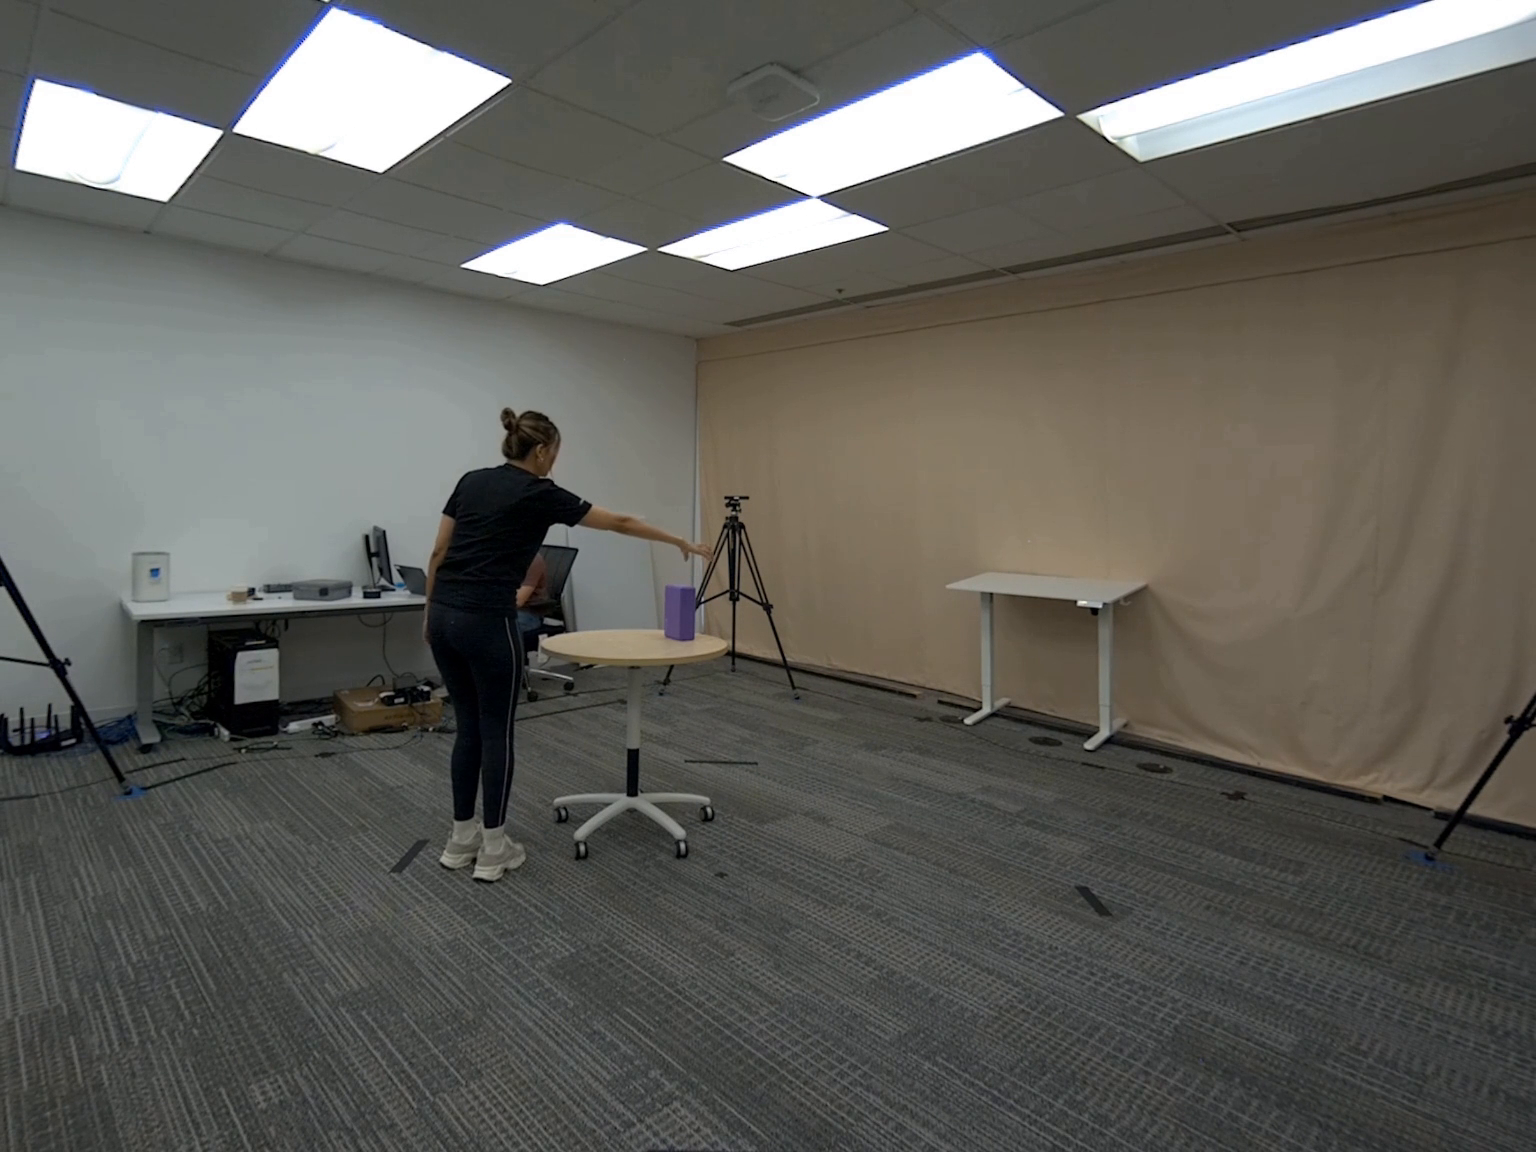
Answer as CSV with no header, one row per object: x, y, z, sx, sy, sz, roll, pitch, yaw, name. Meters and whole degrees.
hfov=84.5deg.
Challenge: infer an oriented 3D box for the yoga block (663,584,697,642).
-0.387,0.154,3.620,0.075,0.229,0.152,-1,3,-35,yoga block
